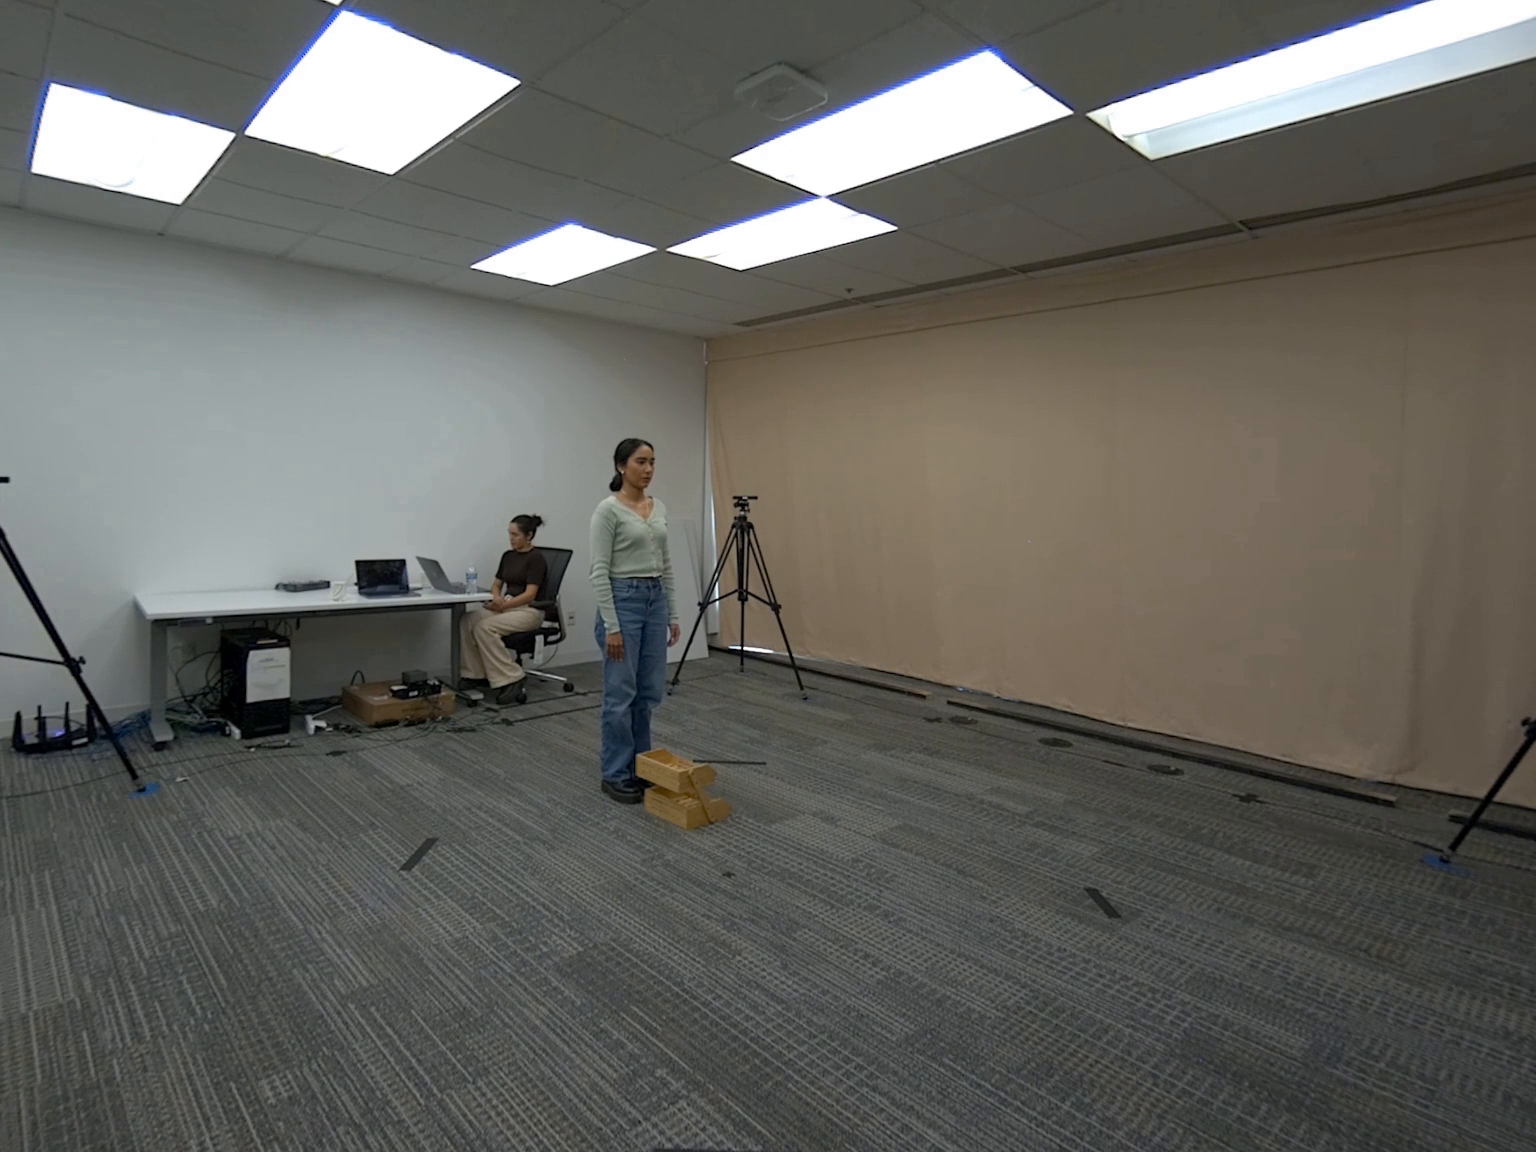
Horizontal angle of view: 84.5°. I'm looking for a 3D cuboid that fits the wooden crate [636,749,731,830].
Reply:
[{"bbox_3d":[-0.377,0.912,3.685,0.295,0.272,0.333,-4,7,-44],"label":"wooden crate"}]
